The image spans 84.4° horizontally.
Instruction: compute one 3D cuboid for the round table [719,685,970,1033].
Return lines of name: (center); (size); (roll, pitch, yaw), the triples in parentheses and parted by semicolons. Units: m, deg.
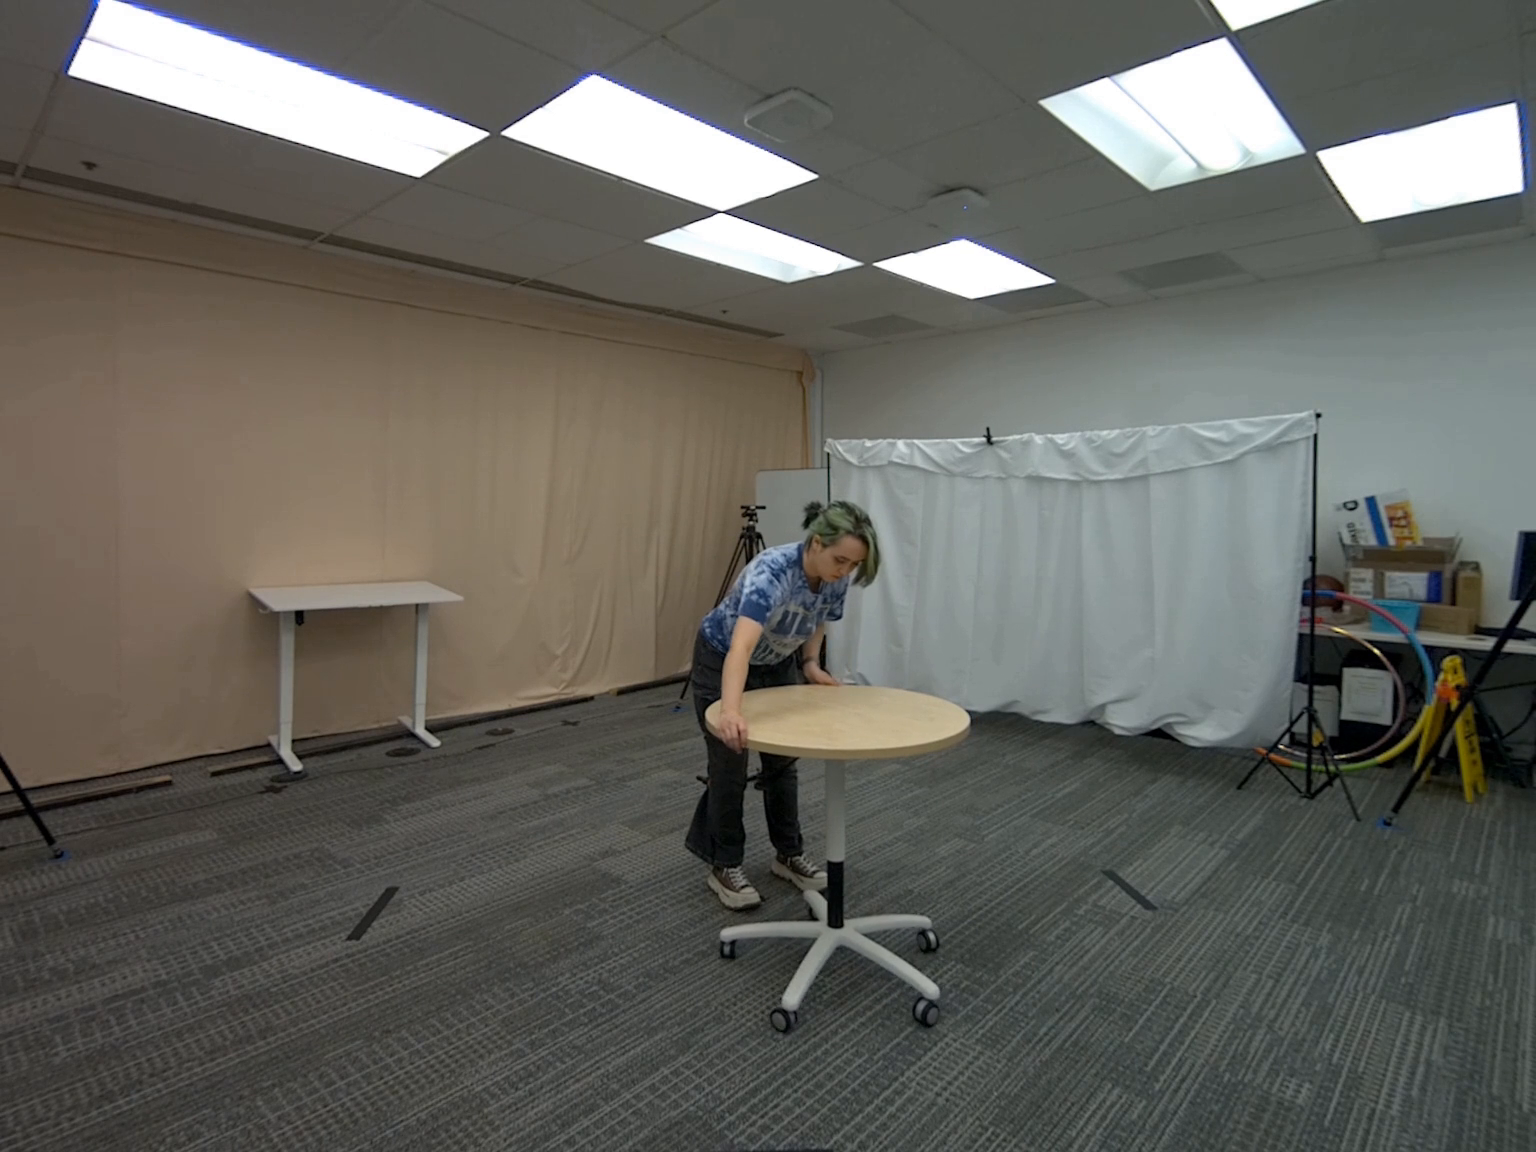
round table: (0.204, 0.796, 2.500); (0.763, 0.792, 0.767); (0, 4, -2)
